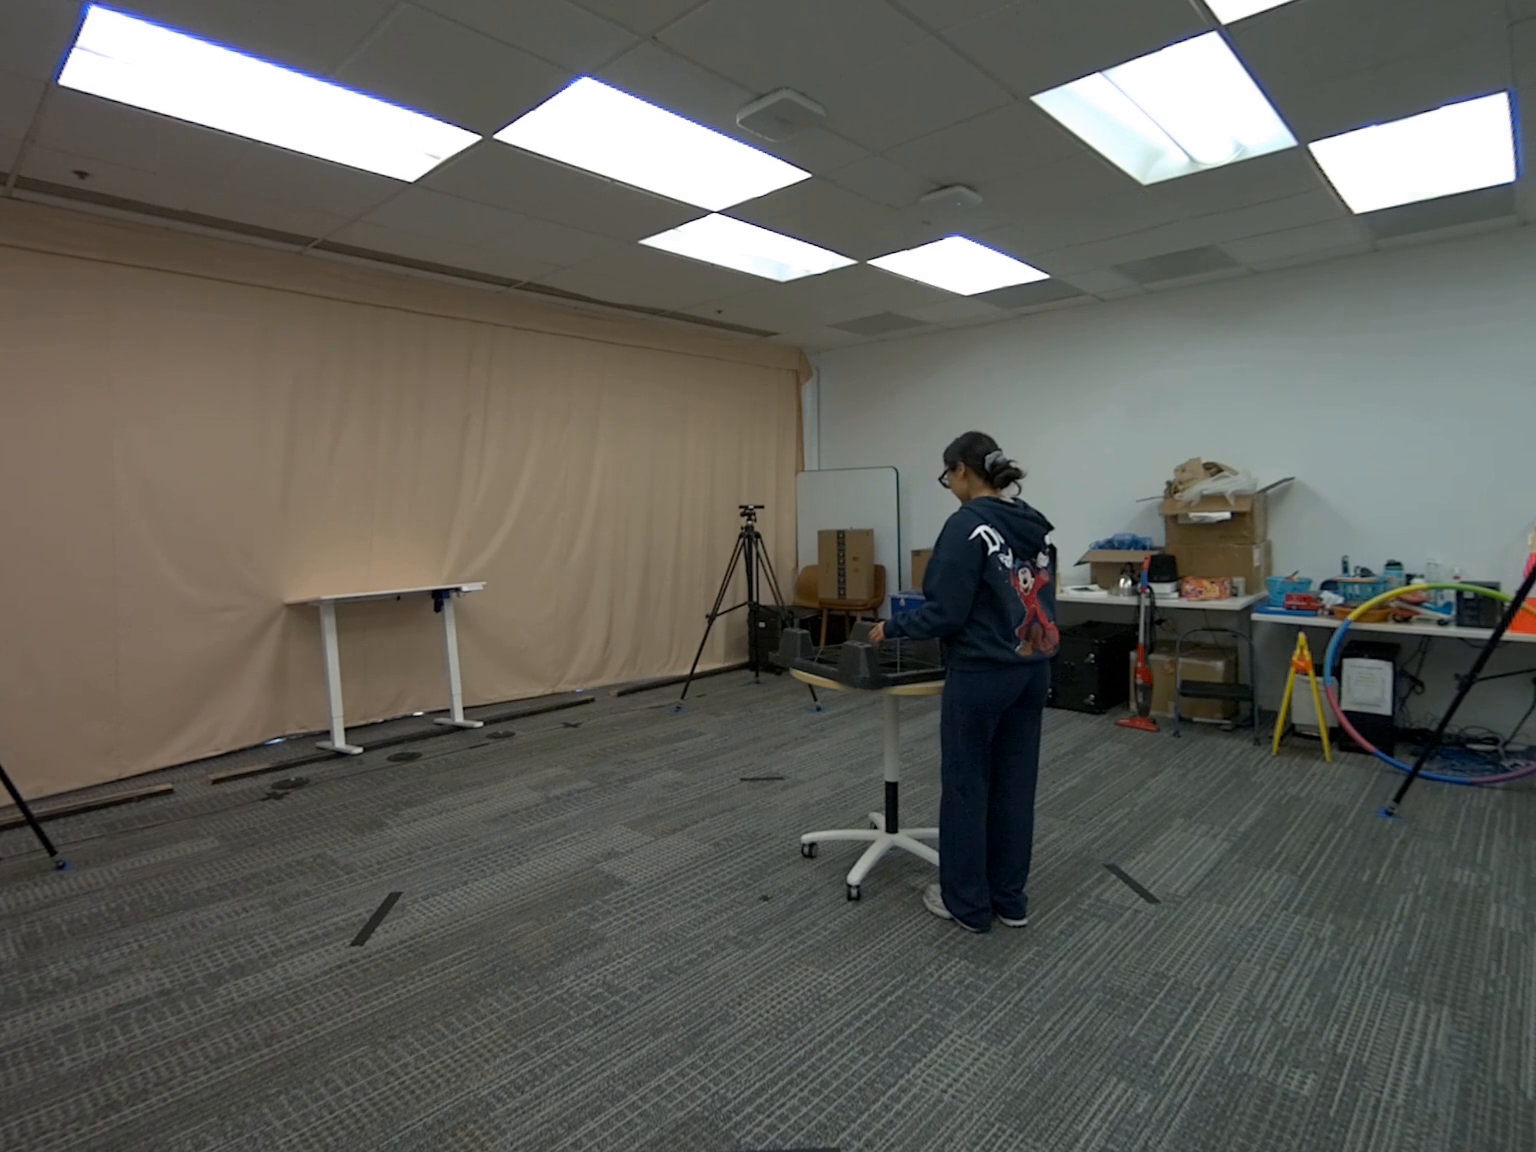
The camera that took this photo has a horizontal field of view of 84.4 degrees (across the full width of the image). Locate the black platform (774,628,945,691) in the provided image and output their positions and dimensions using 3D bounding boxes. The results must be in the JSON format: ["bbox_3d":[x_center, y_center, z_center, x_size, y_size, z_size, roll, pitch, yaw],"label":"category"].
[{"bbox_3d":[0.494,0.272,3.192,0.784,0.143,0.623,-3,6,-30],"label":"black platform"}]
